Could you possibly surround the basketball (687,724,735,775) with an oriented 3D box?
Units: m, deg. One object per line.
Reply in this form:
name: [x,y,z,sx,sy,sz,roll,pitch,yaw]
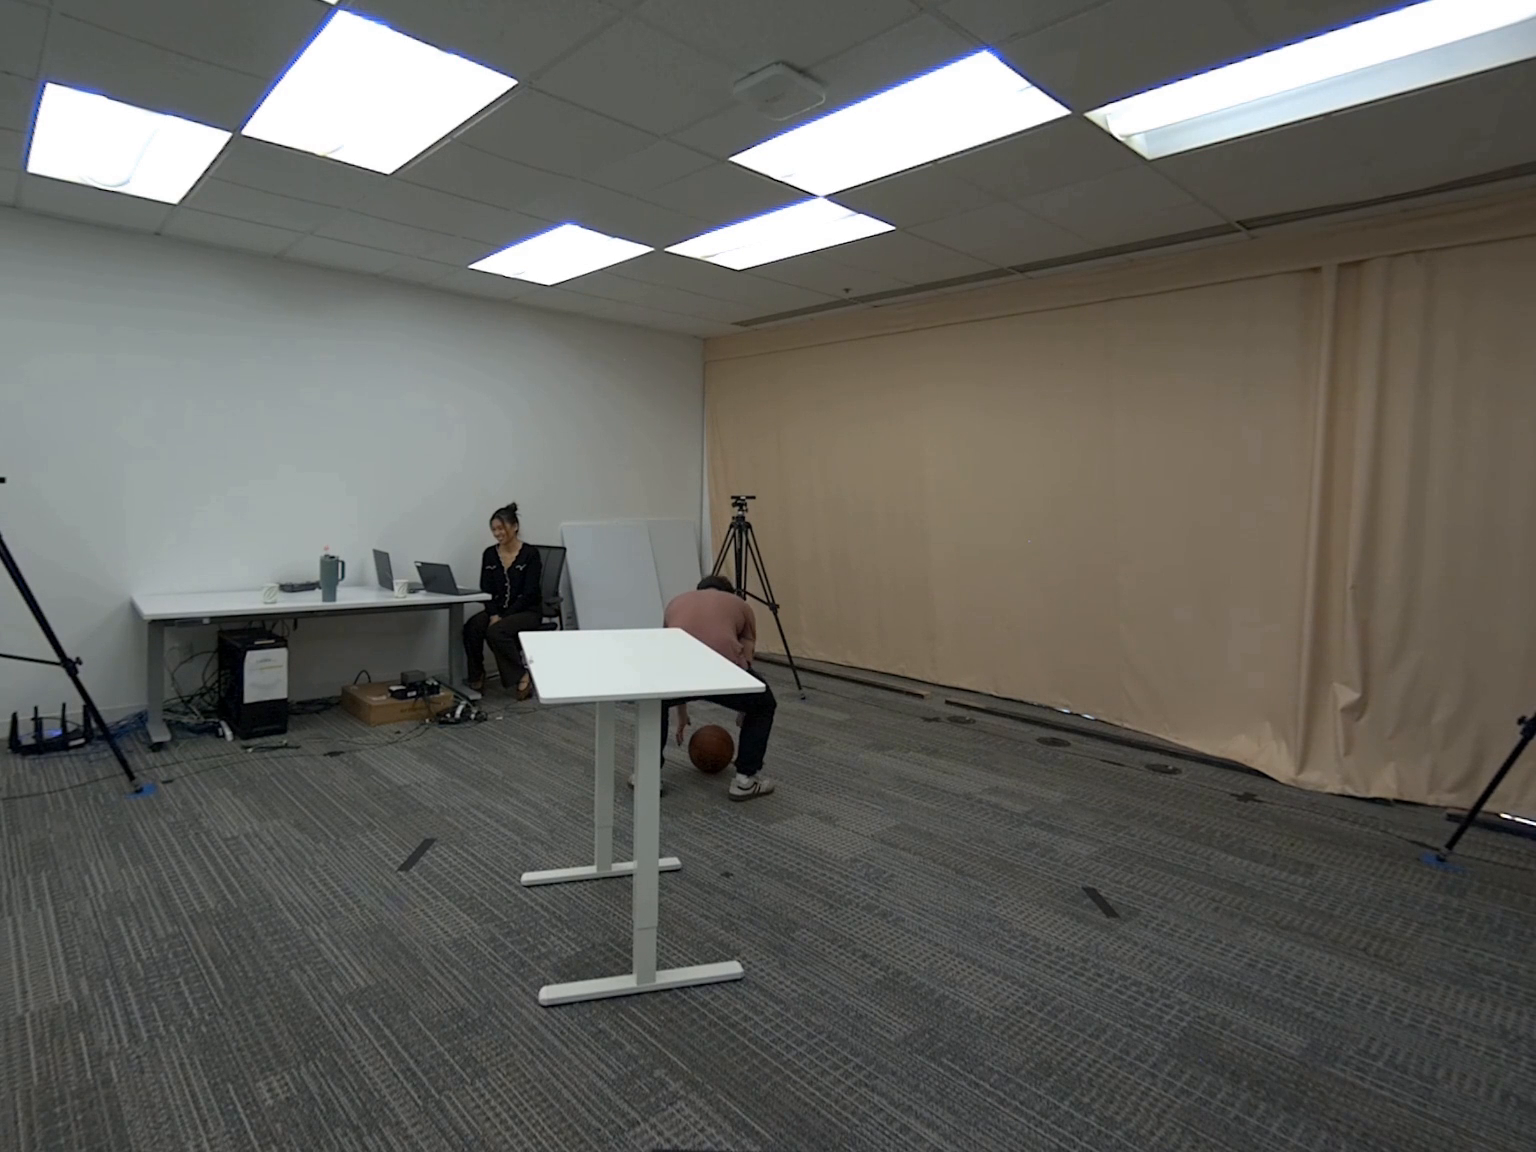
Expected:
basketball: [-0.304,0.869,4.285,0.236,0.235,0.237,1,4,-1]
